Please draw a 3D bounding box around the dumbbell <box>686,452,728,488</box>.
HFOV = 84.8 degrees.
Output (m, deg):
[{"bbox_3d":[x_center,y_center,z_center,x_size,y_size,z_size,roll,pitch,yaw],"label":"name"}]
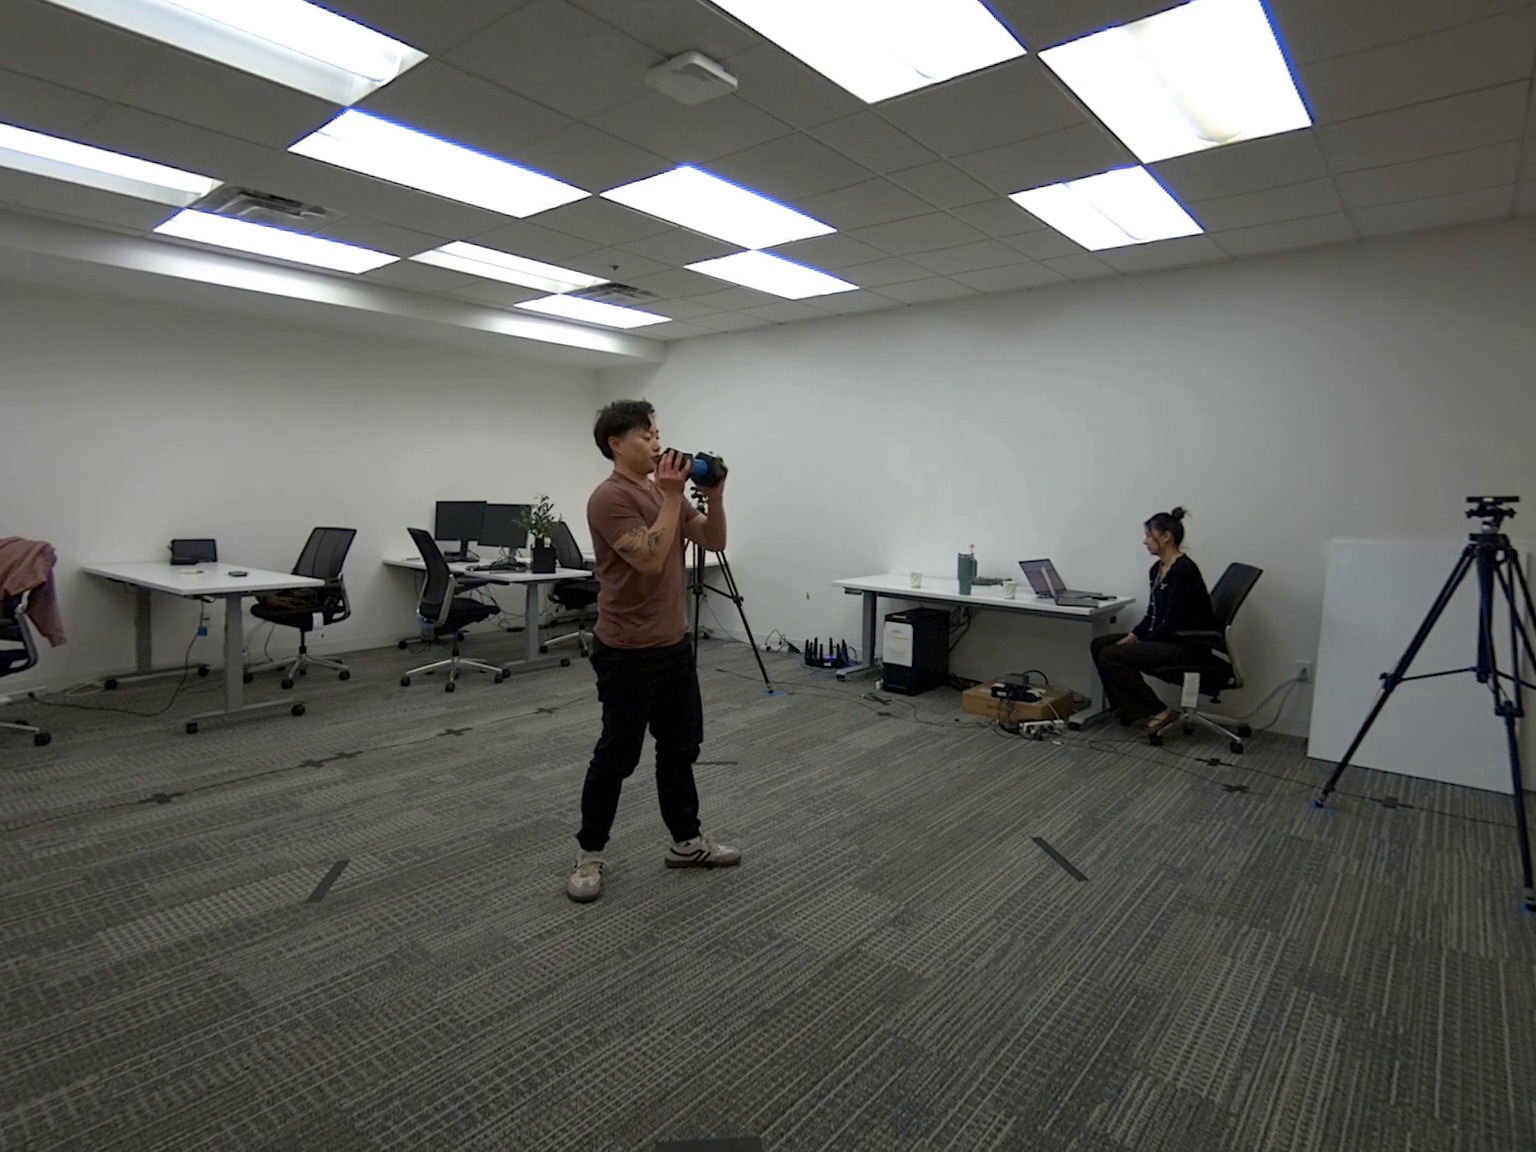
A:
[{"bbox_3d":[-0.263,-0.368,2.880,0.123,0.111,0.287,-42,-13,22],"label":"dumbbell"}]
